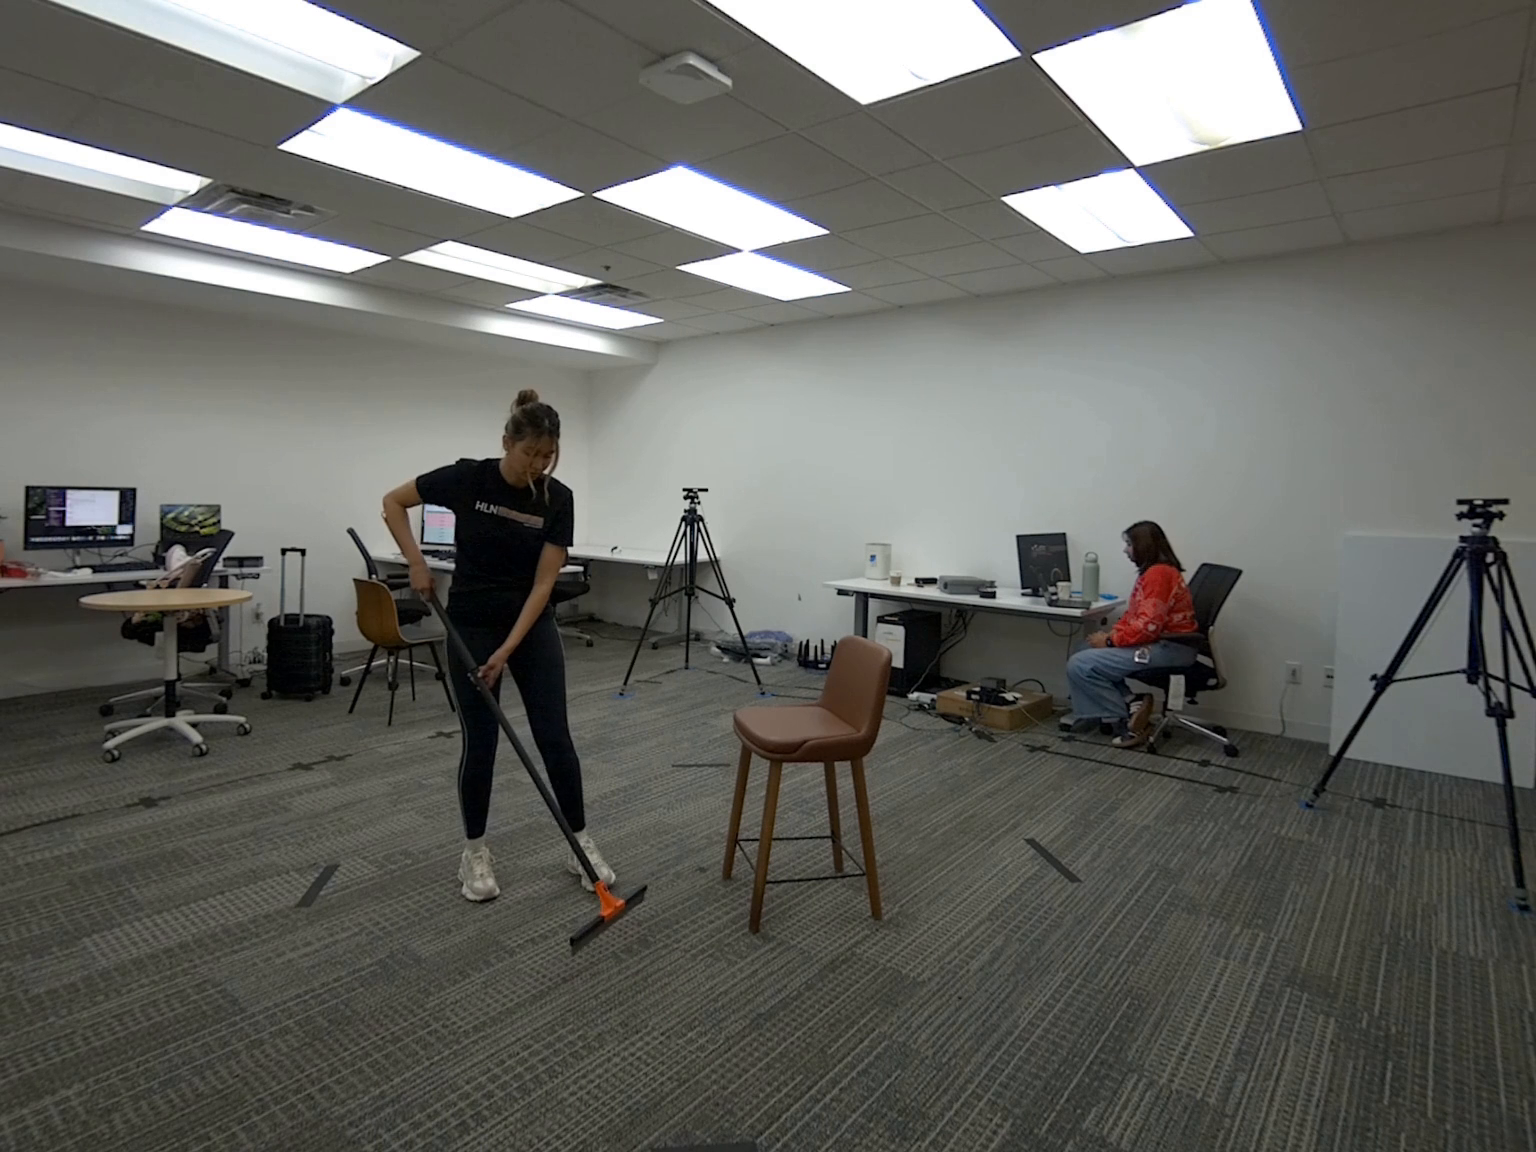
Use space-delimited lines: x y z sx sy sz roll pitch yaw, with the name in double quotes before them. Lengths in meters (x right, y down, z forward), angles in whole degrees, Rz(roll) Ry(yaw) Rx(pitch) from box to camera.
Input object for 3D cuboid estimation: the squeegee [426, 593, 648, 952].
"squeegee" -0.875 0.396 2.702 0.053 1.570 0.427 -39 -15 16
